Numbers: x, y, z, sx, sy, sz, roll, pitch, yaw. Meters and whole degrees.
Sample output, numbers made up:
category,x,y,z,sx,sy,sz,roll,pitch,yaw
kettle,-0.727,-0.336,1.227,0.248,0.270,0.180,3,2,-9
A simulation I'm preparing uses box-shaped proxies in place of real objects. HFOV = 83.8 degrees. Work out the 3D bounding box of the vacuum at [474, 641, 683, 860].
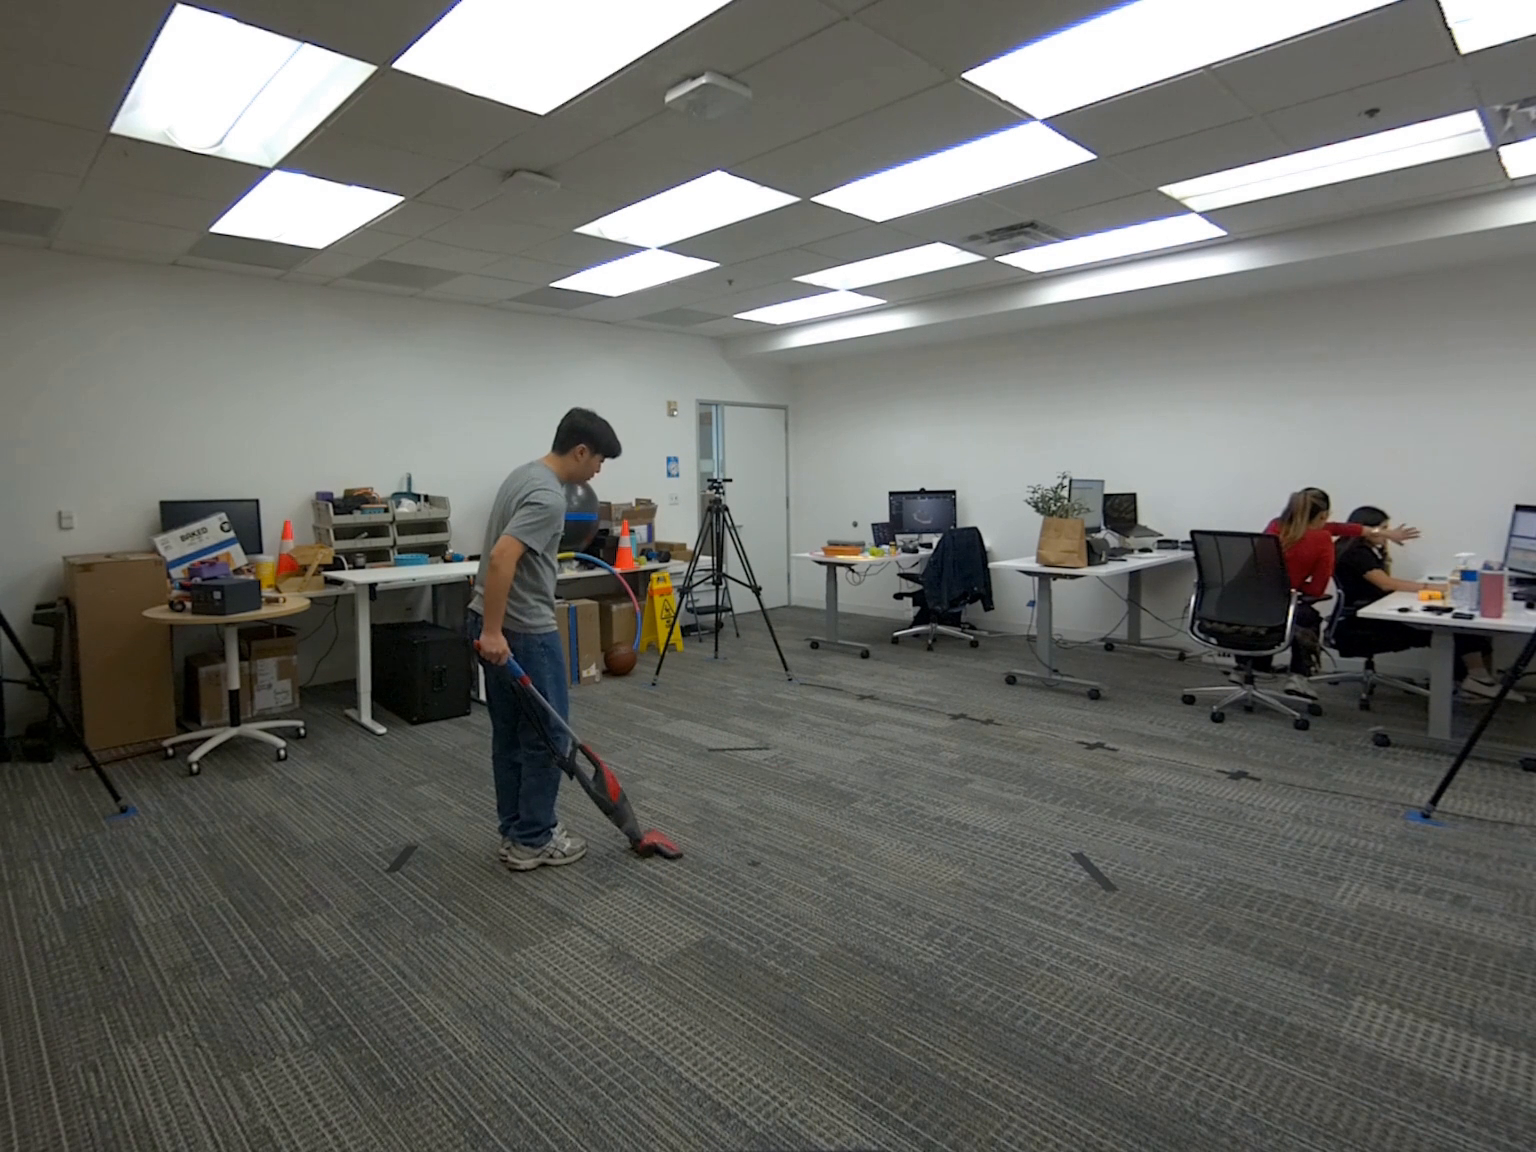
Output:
category,x,y,z,sx,sy,sz,roll,pitch,yaw
vacuum,-0.679,0.639,3.078,0.143,1.023,0.259,-43,22,-23
